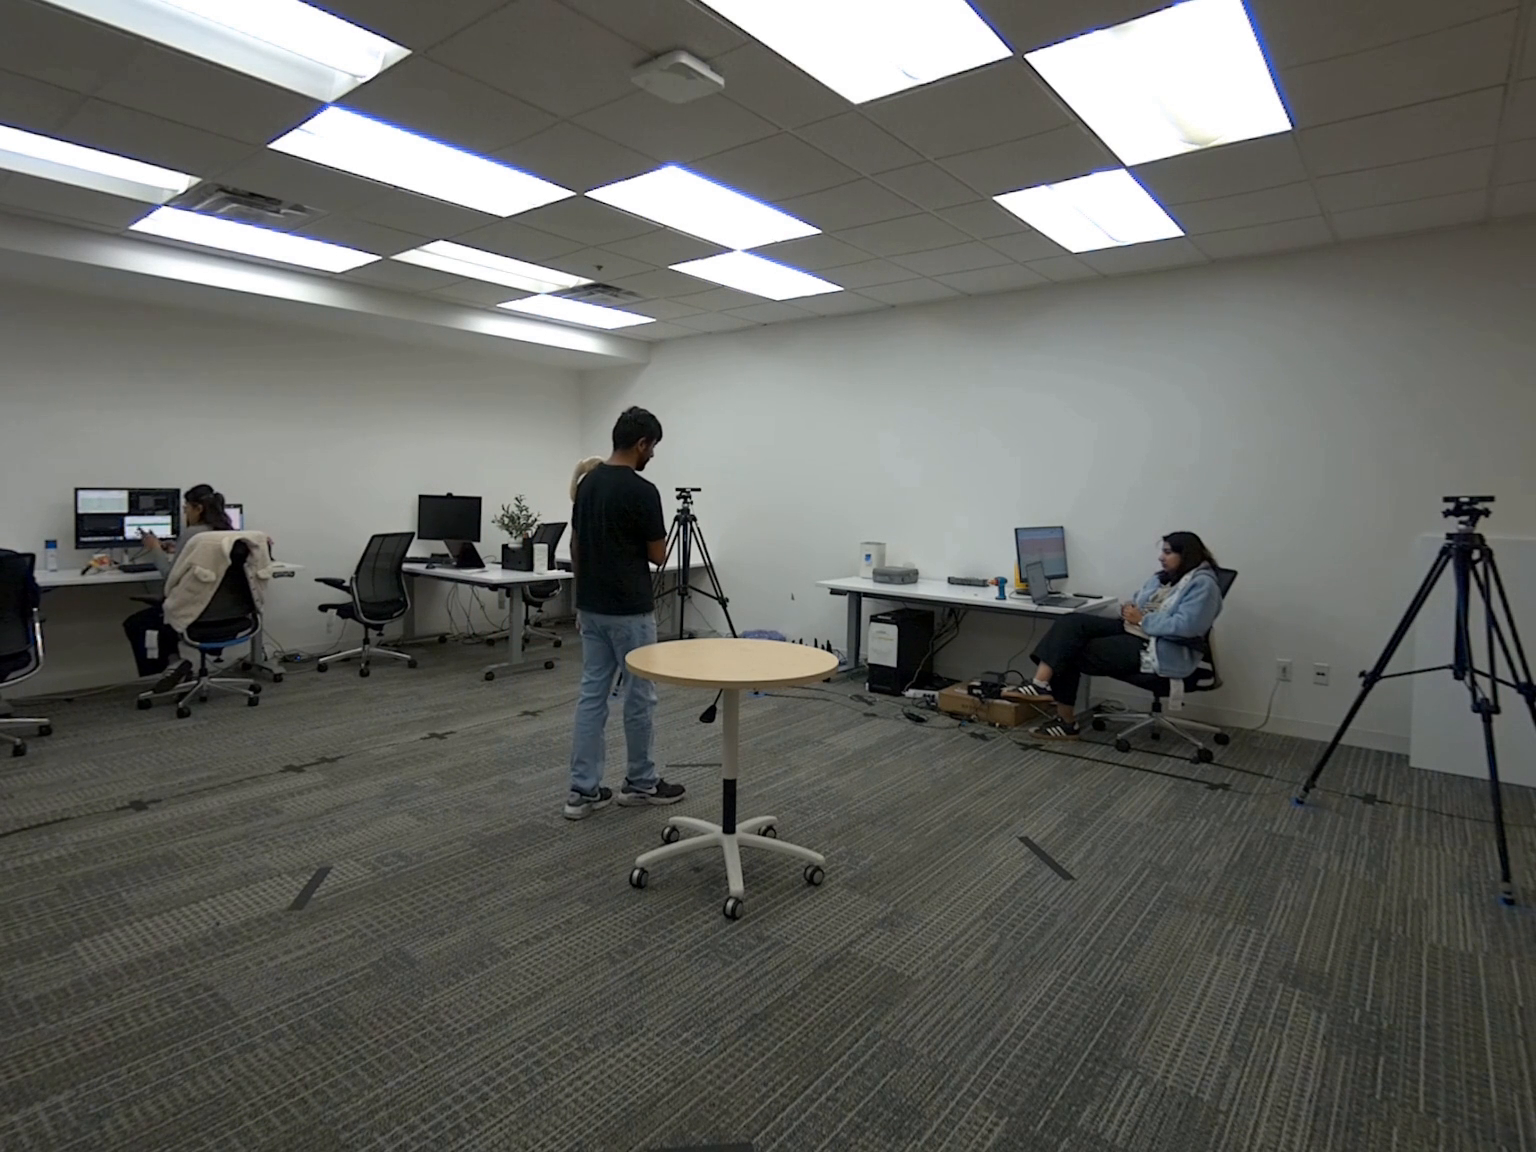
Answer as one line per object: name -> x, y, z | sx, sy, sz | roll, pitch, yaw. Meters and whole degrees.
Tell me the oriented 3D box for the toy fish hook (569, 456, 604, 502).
toy fish hook -> -0.772, -0.277, 3.761 | 0.220, 0.498, 0.050 | -17, 21, -35
